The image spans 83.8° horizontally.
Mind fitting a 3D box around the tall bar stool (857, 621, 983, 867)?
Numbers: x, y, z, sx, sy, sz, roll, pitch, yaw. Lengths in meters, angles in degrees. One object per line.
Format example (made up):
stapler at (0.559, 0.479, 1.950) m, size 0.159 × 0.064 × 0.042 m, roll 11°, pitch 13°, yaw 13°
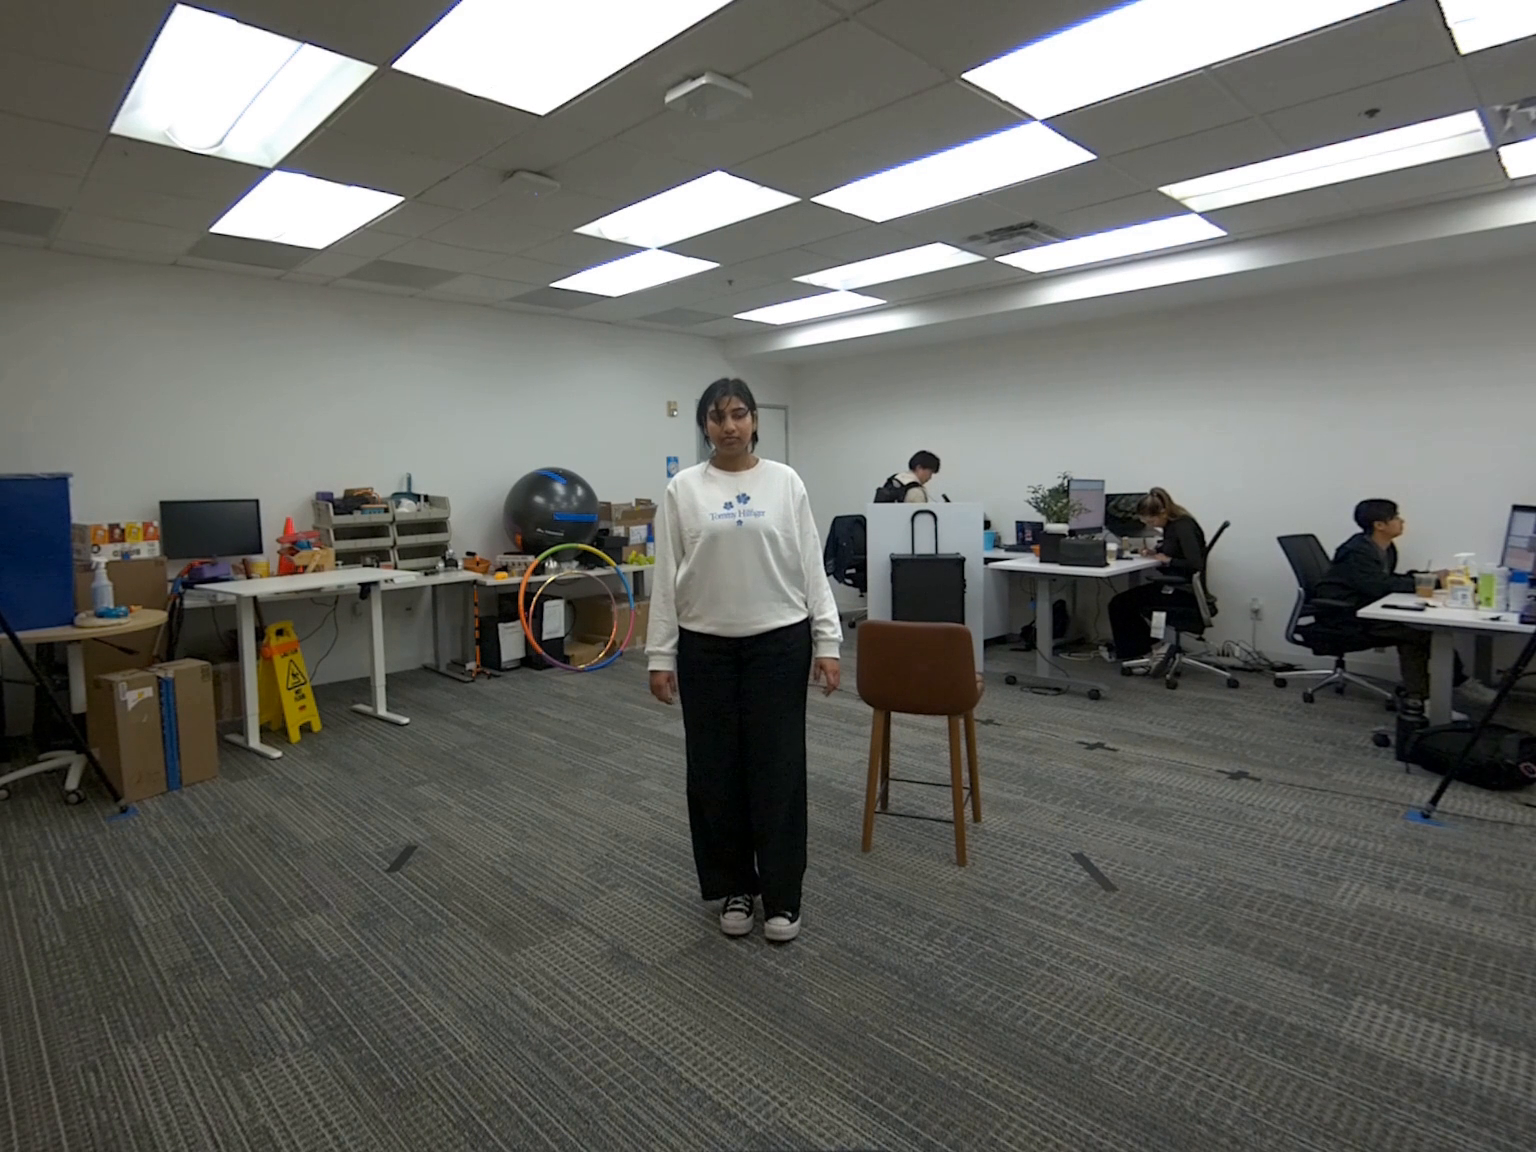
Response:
tall bar stool at (0.592, 0.576, 3.305) m, size 0.466 × 0.886 × 0.460 m, roll 1°, pitch 5°, yaw 22°
